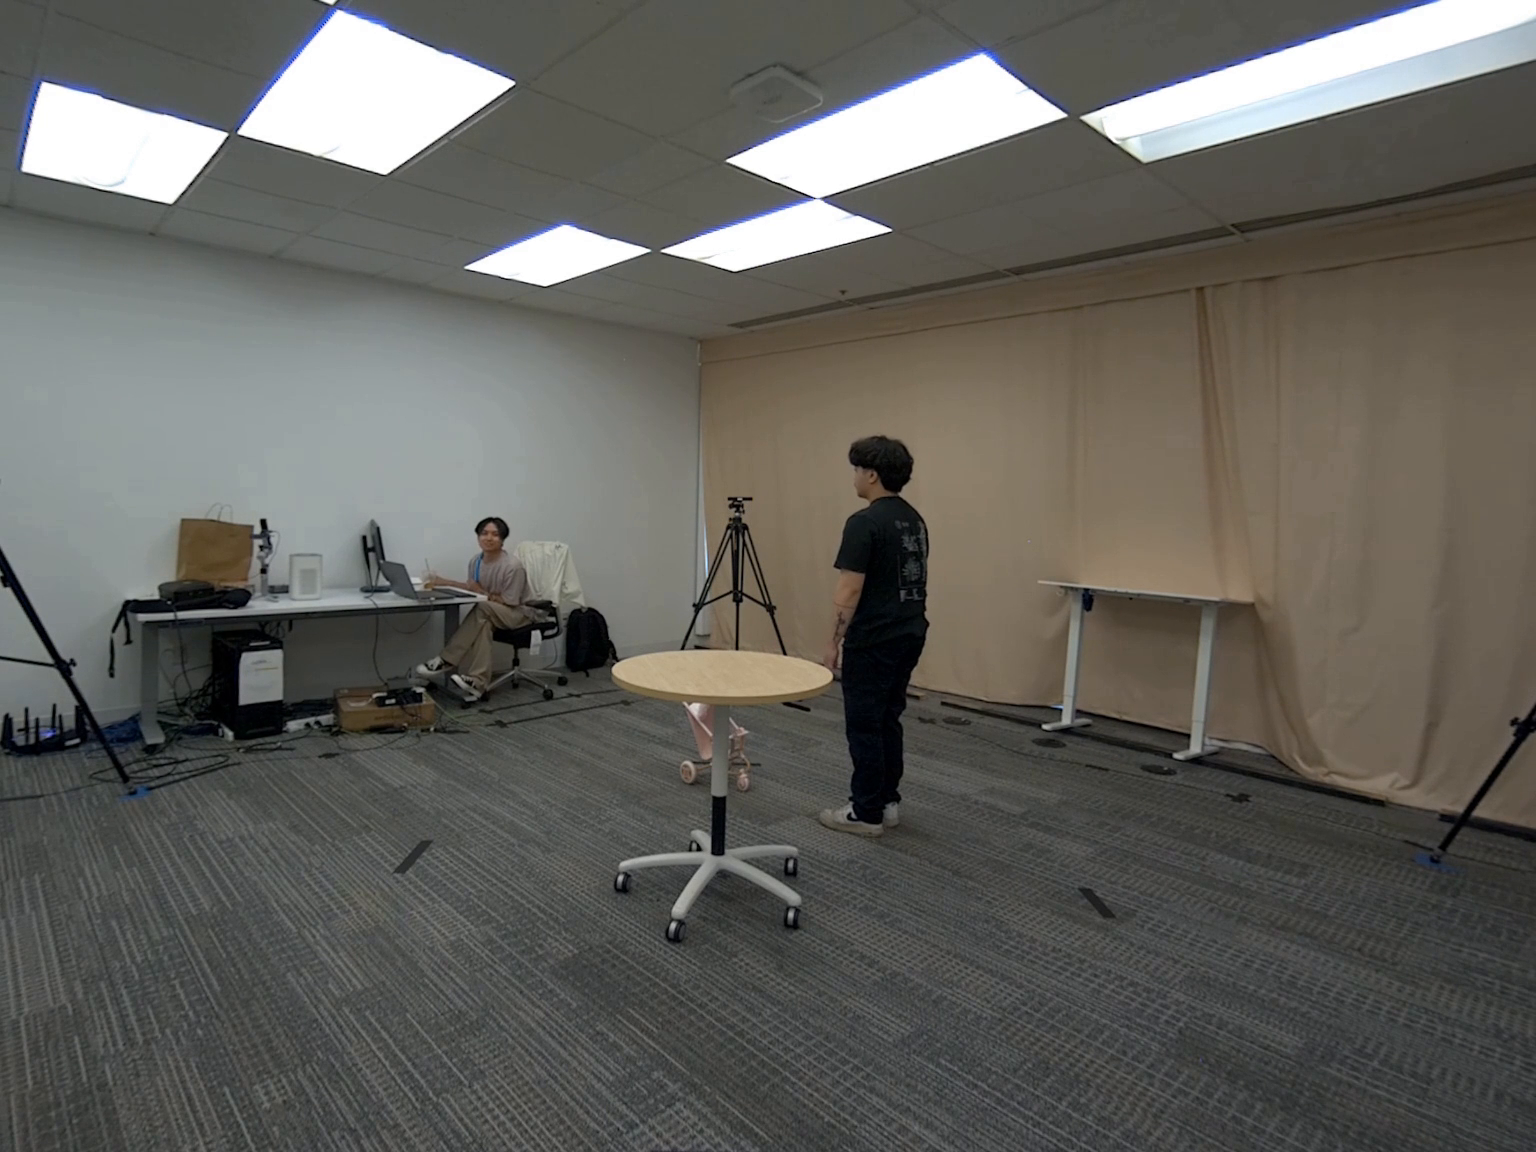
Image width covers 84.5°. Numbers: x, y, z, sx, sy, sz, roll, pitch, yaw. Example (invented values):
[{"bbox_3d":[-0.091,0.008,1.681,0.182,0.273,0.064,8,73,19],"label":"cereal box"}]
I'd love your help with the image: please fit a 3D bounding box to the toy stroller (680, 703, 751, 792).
[{"bbox_3d":[-0.267,0.791,4.163,0.275,0.539,0.347,0,-11,-44],"label":"toy stroller"}]
